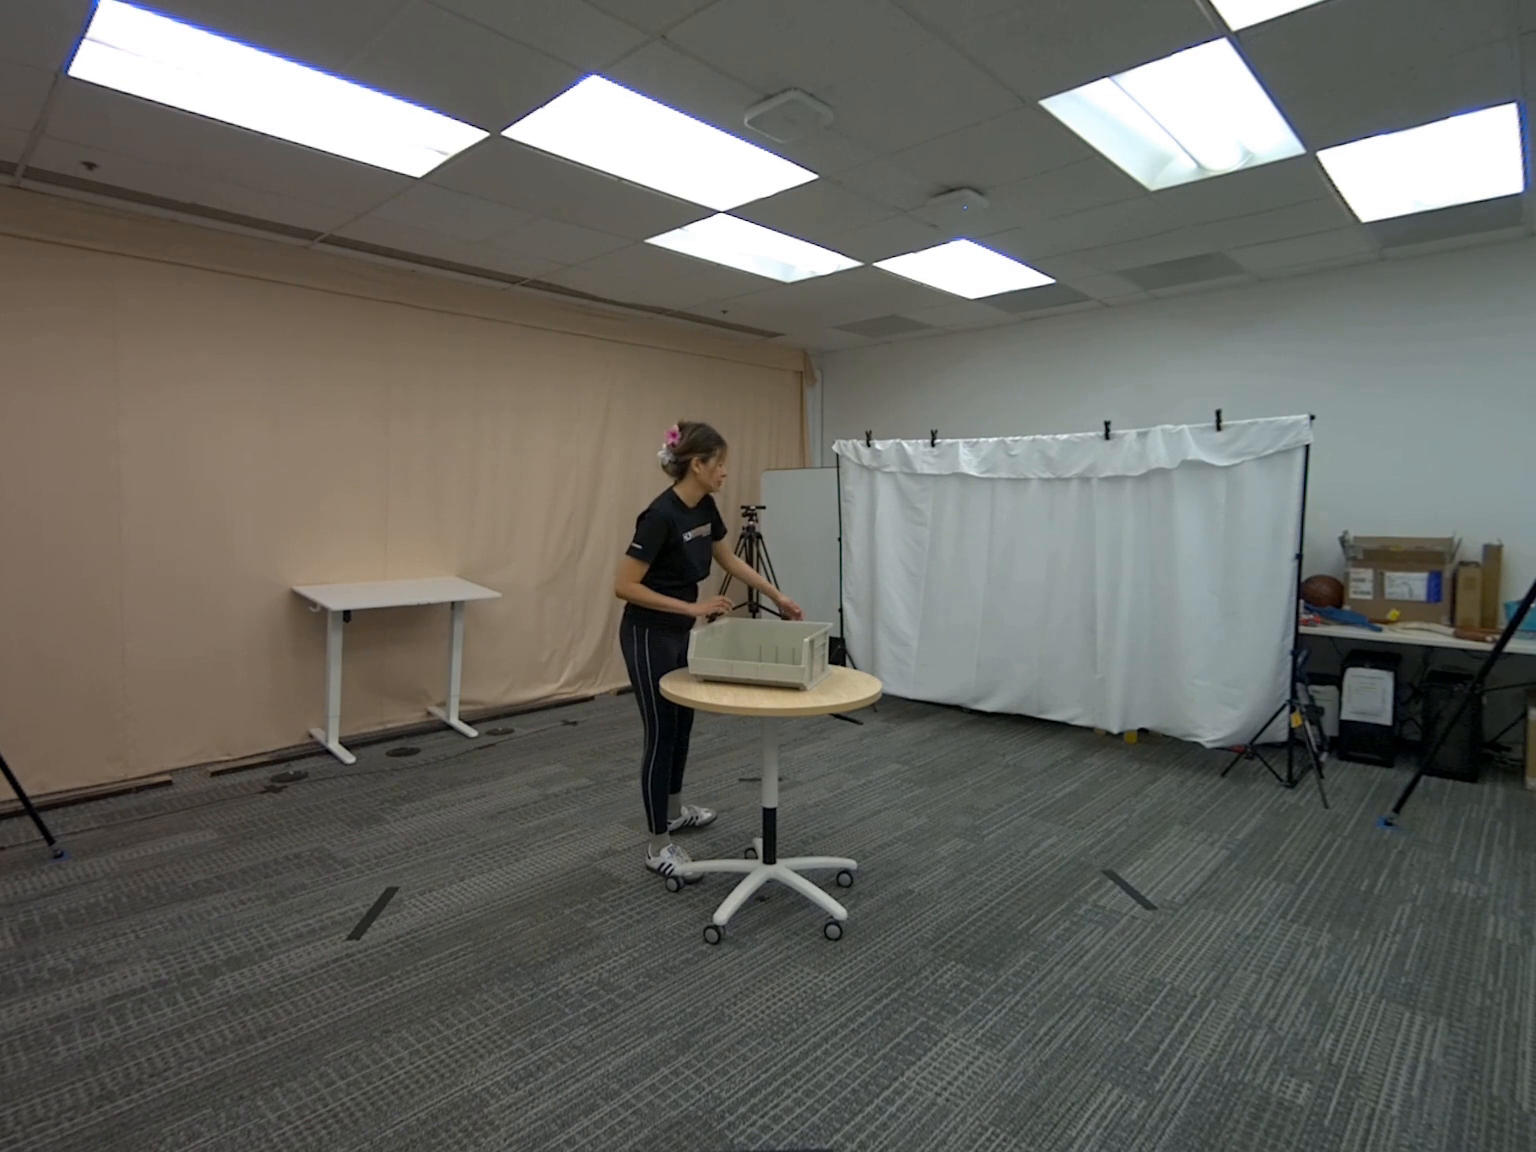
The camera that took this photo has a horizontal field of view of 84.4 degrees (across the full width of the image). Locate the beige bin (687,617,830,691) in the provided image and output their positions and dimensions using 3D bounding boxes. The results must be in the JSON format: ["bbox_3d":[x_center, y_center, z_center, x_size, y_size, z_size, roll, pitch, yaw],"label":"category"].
[{"bbox_3d":[-0.014,0.271,2.966,0.431,0.188,0.370,2,4,19],"label":"beige bin"}]
